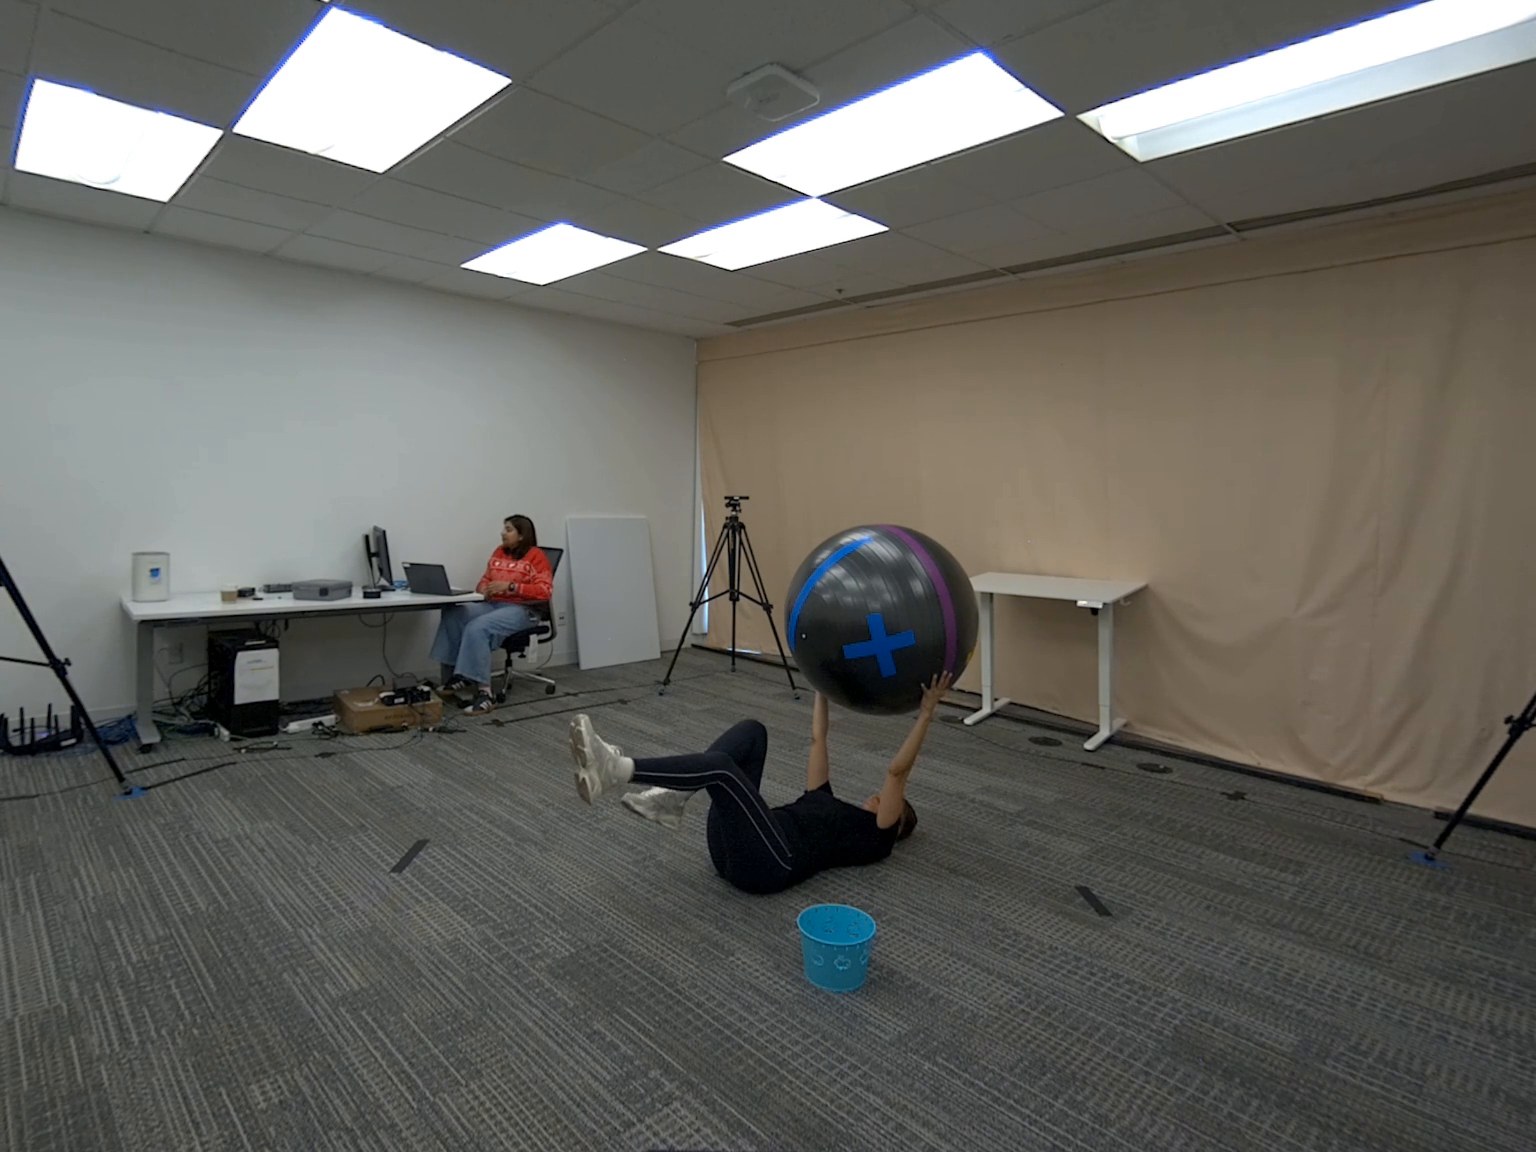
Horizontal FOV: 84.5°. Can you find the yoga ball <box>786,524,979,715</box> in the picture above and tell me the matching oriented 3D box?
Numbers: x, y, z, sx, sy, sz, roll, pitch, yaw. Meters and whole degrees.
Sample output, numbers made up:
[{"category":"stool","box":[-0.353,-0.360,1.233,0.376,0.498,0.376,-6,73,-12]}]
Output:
[{"category":"yoga ball","box":[0.440,0.173,3.338,0.757,0.754,0.762,0,7,-1]}]
